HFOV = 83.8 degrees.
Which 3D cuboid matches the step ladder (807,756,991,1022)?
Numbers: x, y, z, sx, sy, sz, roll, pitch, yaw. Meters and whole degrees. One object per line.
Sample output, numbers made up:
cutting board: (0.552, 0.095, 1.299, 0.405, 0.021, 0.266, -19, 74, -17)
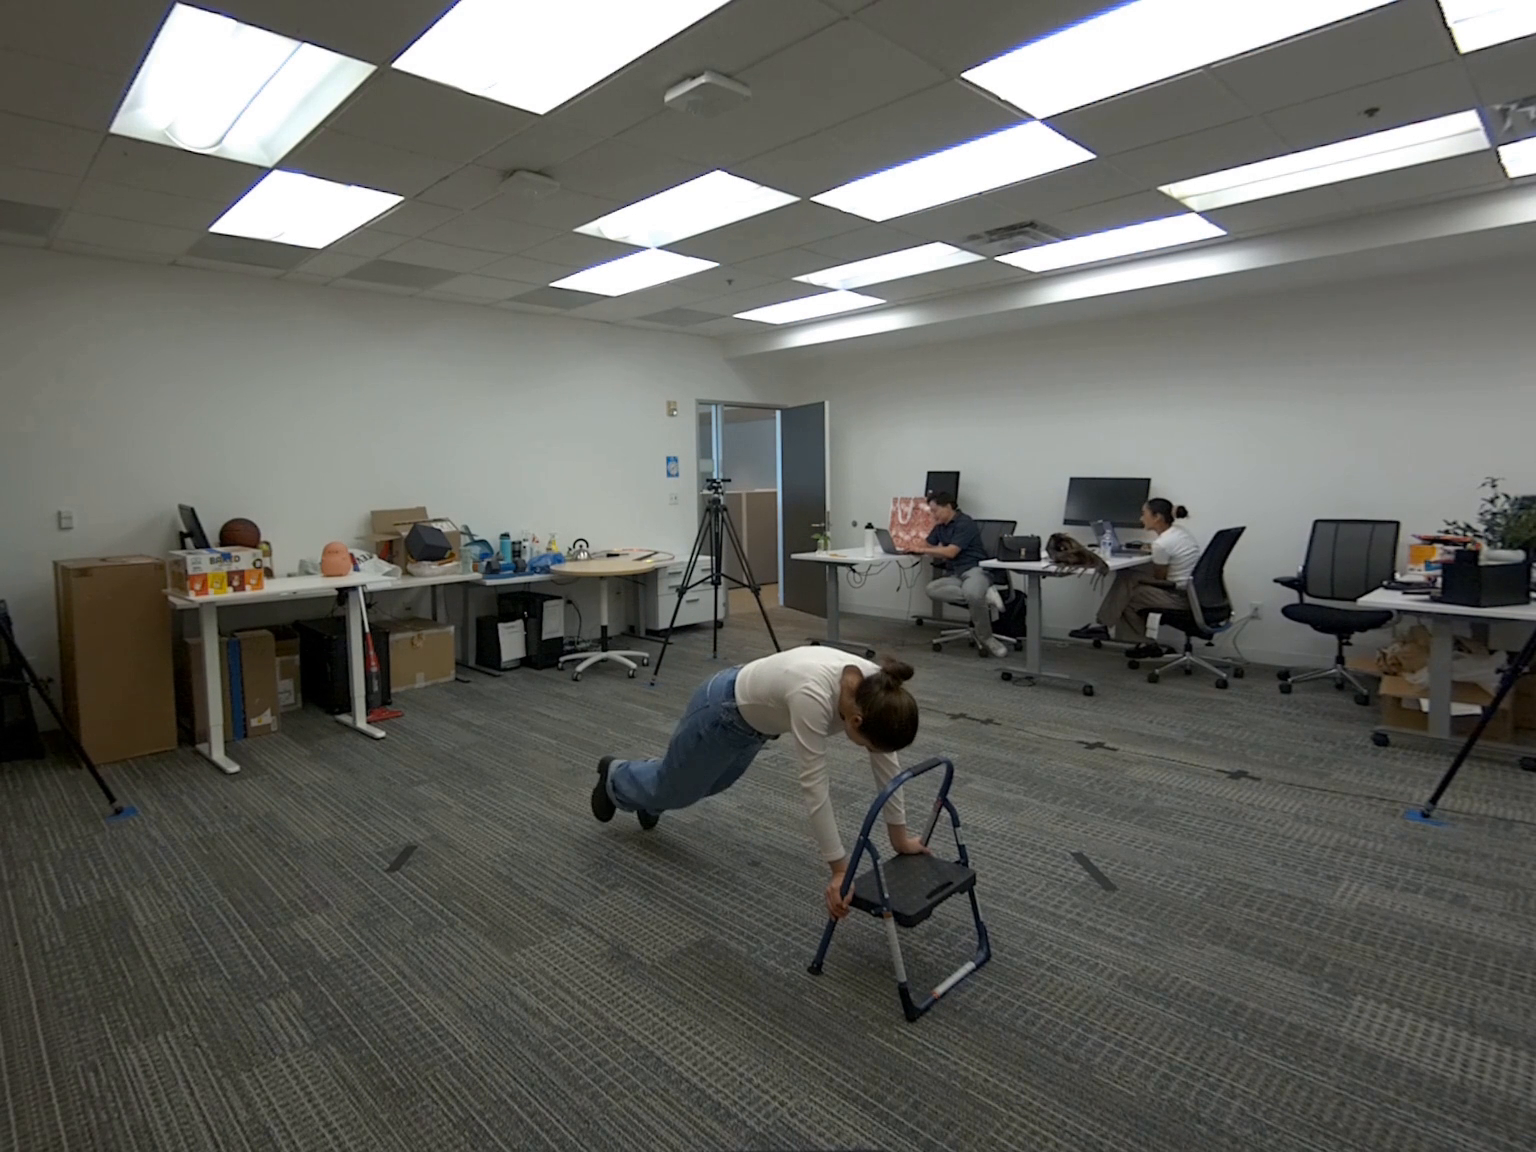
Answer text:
step ladder: (0.382, 0.815, 2.426, 0.360, 0.604, 0.419, 3, 6, 43)
